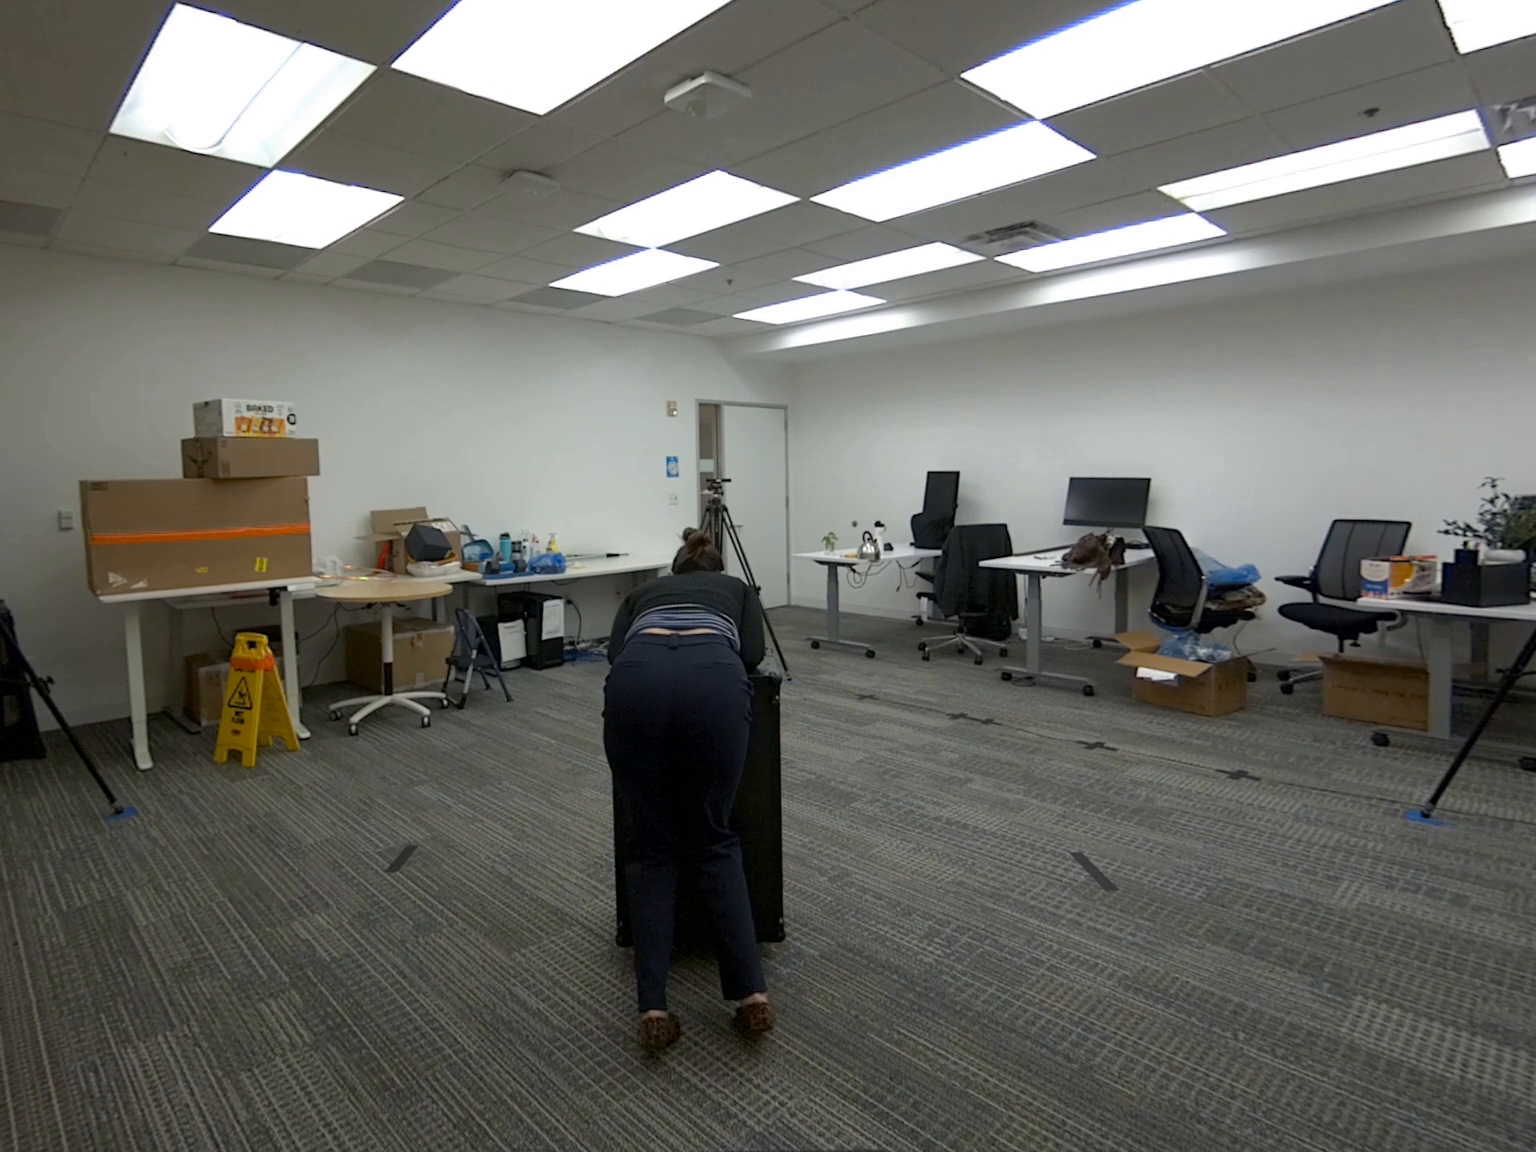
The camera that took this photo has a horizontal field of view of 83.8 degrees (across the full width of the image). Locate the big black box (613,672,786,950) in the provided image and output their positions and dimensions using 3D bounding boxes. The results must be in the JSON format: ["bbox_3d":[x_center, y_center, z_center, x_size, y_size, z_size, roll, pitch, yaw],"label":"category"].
[{"bbox_3d":[-0.209,0.690,2.584,0.520,0.857,0.399,-1,6,-3],"label":"big black box"}]
